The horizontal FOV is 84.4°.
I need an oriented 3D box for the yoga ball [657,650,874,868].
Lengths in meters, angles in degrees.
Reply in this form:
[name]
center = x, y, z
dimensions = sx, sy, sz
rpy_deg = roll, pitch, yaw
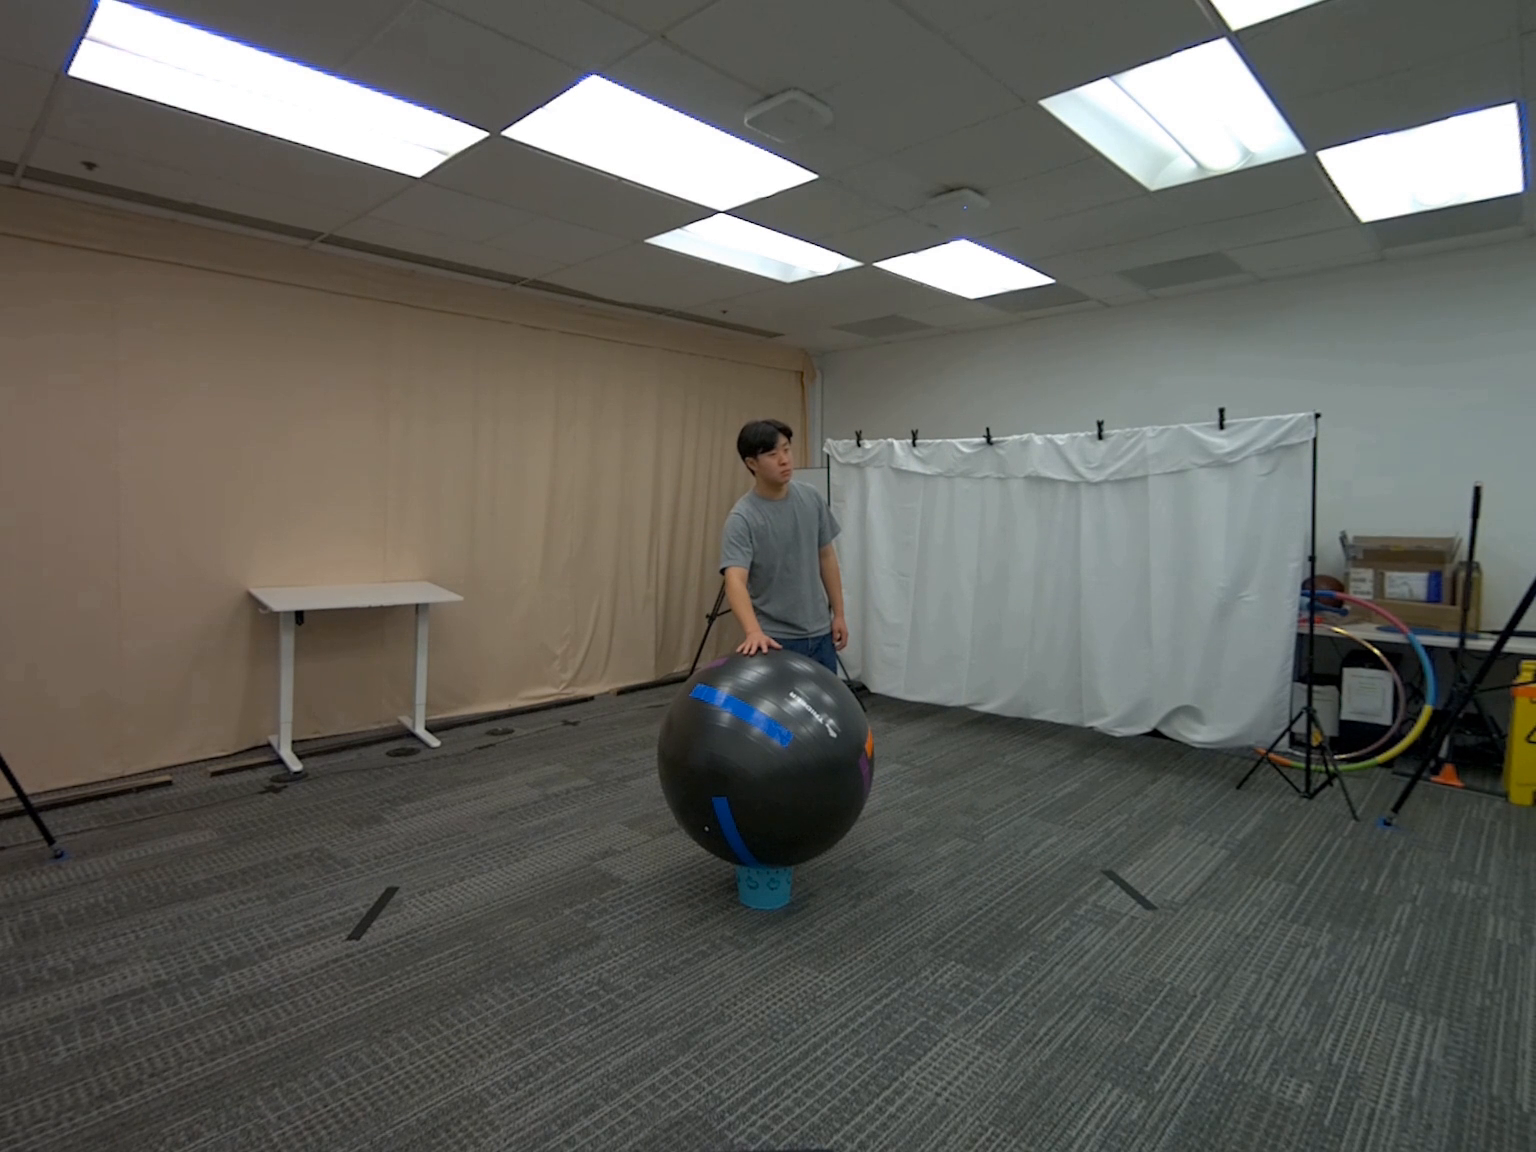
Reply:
[yoga ball]
center = -0.011, 0.629, 2.975
dimensions = 0.757, 0.756, 0.760
rpy_deg = 0, 4, -2
